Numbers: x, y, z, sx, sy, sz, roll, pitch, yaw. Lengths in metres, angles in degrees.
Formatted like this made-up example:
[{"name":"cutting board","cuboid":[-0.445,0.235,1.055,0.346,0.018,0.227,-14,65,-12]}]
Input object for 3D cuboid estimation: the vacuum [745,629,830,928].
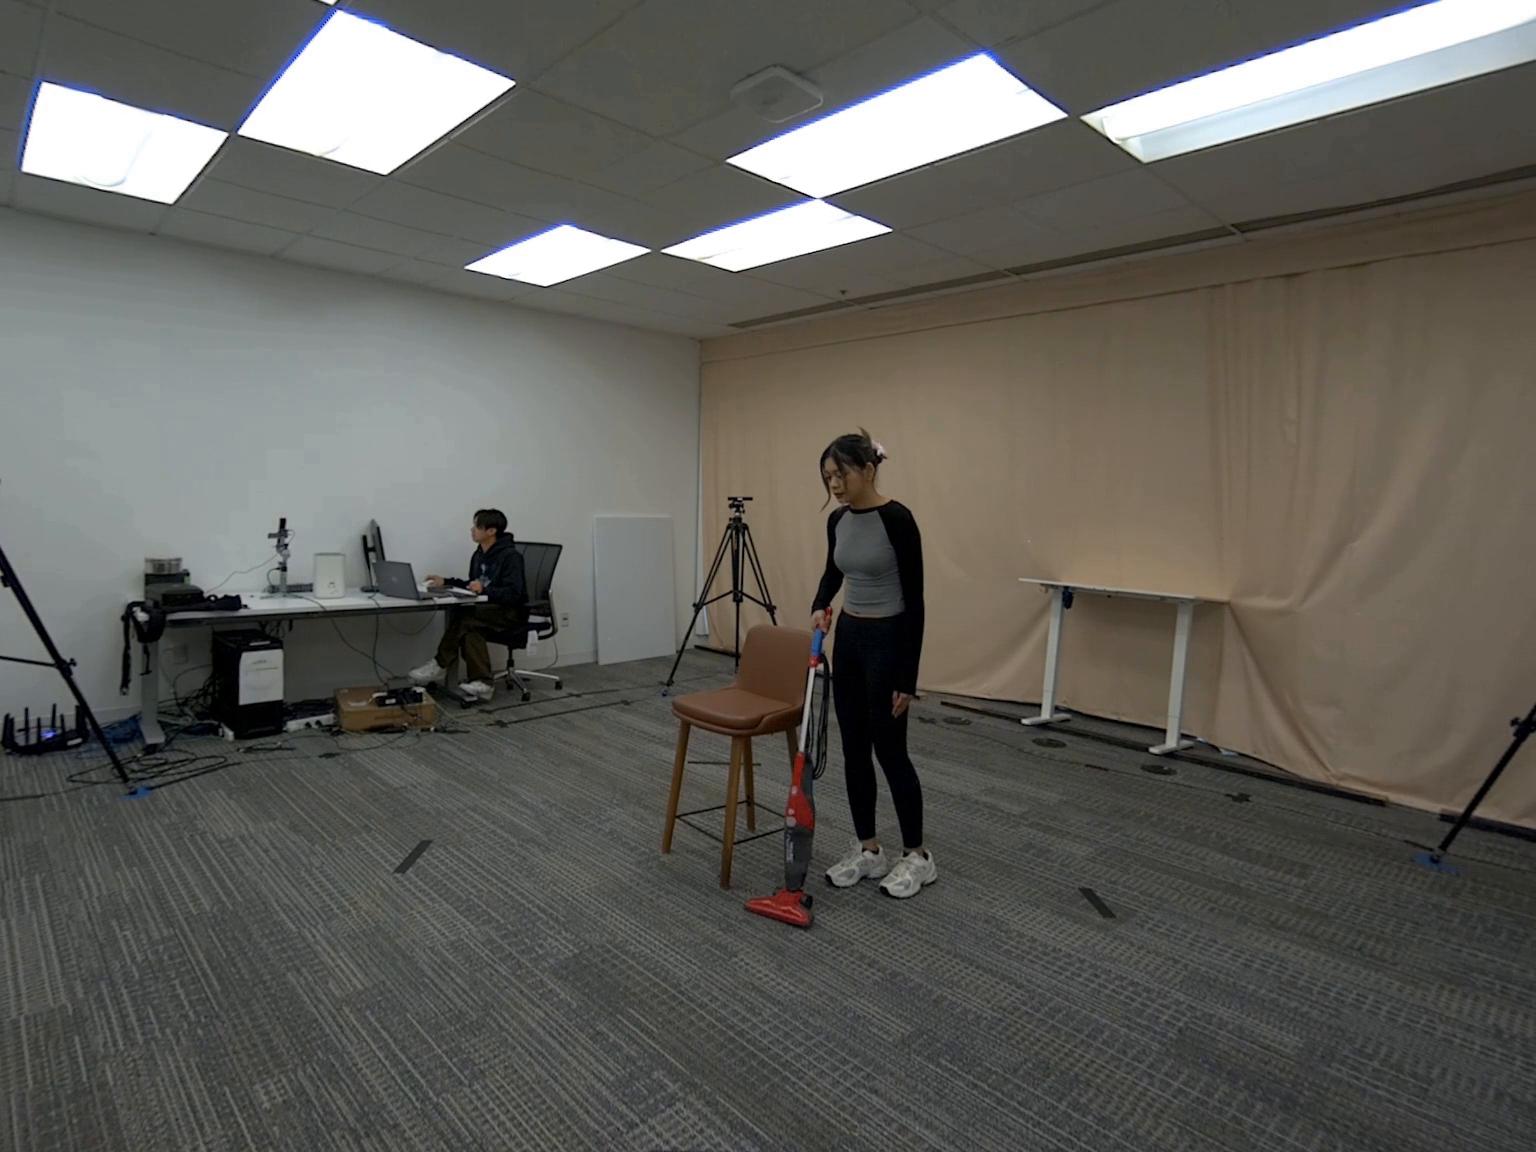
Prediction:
[{"name":"vacuum","cuboid":[0.132,0.636,2.964,0.258,1.059,0.140,0,-17,31]}]
